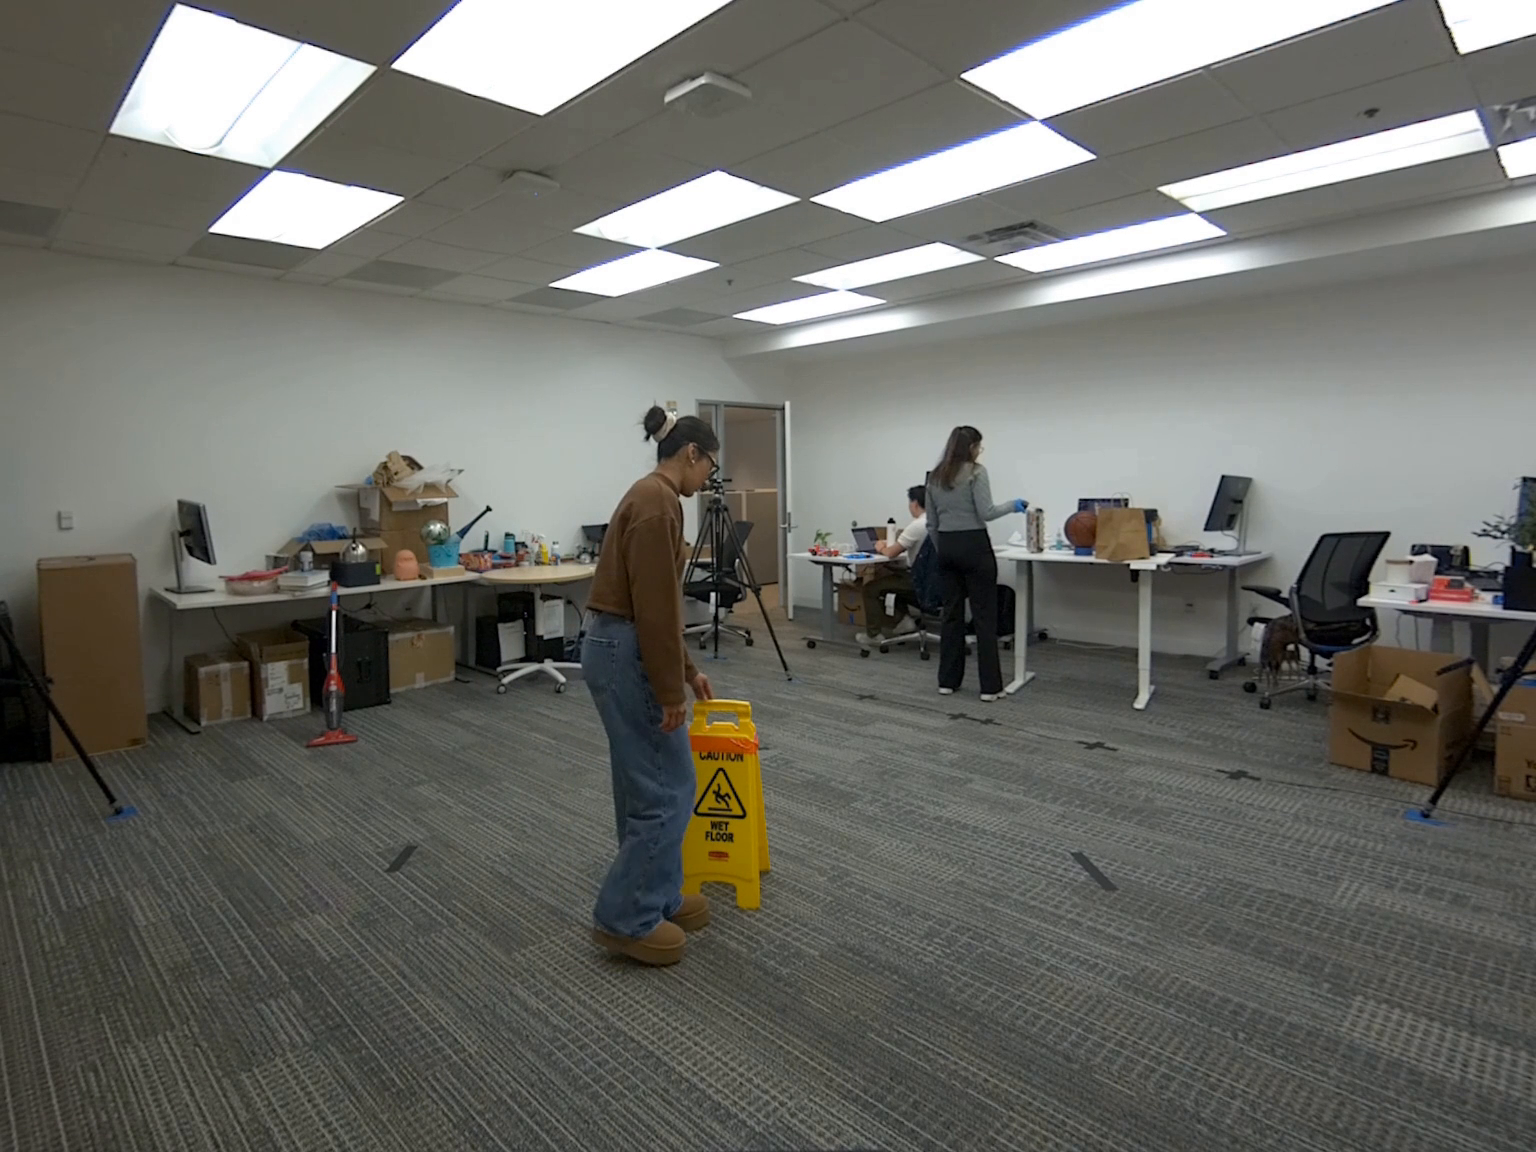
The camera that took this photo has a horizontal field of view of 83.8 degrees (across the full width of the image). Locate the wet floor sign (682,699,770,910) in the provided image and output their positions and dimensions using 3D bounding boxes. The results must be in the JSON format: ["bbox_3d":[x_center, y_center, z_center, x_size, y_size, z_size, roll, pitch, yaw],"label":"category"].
[{"bbox_3d":[-0.141,0.745,2.909,0.285,0.643,0.288,-1,5,8],"label":"wet floor sign"}]
